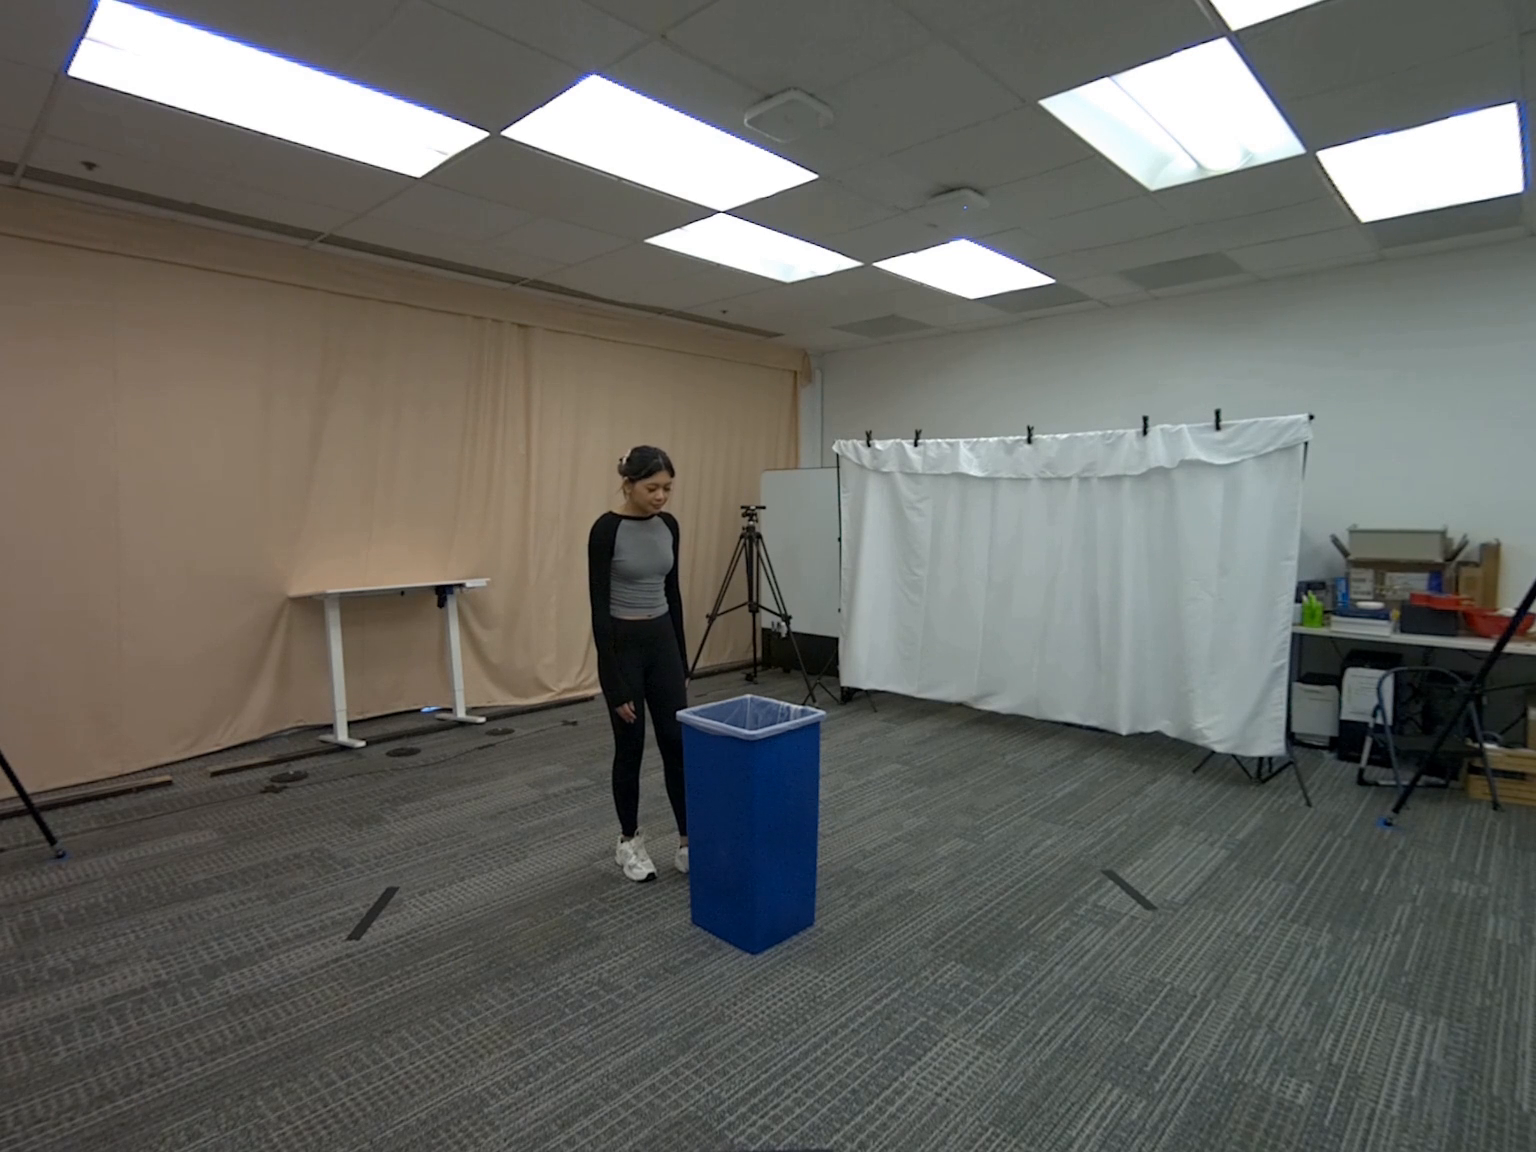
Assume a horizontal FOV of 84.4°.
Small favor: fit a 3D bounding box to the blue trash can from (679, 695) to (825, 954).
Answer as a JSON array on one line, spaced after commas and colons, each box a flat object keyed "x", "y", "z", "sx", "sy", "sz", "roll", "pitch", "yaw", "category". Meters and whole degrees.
[{"x": -0.050, "y": 0.804, "z": 2.785, "sx": 0.390, "sy": 0.712, "sz": 0.362, "roll": 3, "pitch": 4, "yaw": 44, "category": "blue trash can"}]
